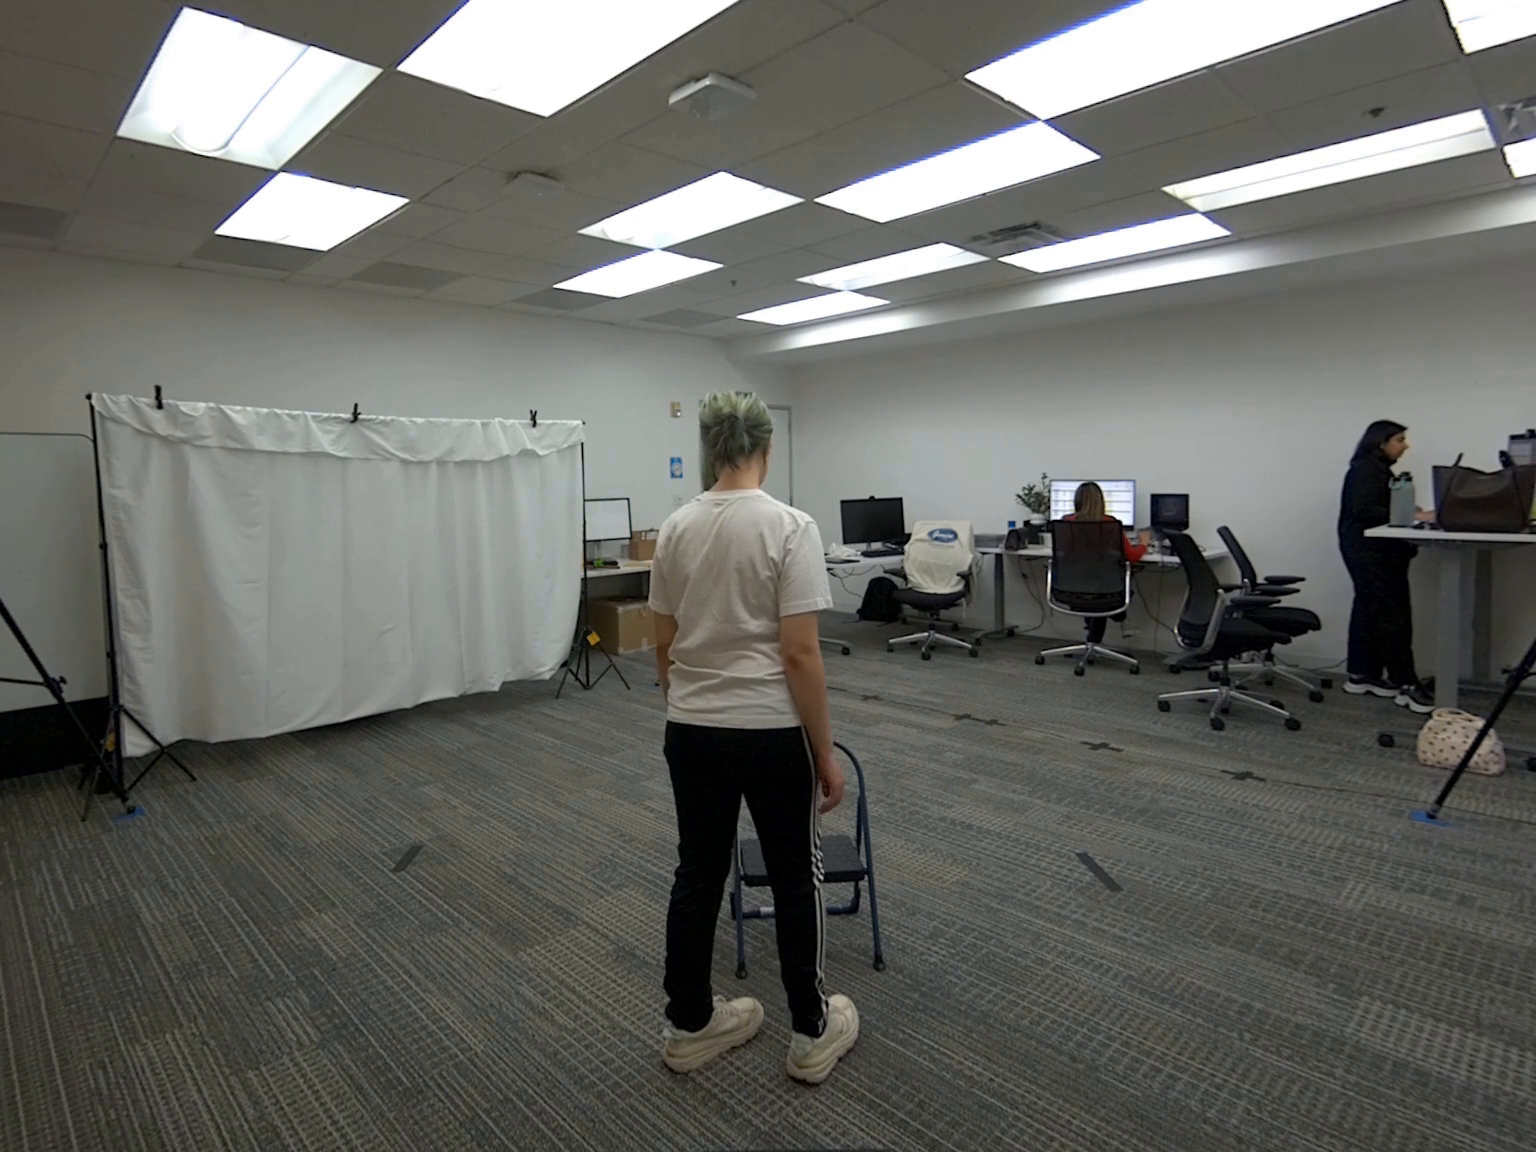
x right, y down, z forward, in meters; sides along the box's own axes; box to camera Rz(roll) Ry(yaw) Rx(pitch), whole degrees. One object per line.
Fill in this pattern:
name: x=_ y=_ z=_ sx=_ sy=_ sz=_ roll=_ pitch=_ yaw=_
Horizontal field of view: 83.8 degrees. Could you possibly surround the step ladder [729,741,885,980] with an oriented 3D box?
step ladder: x=0.105 y=0.808 z=2.565 sx=0.429 sy=0.603 sz=0.352 roll=-2 pitch=5 yaw=-5
